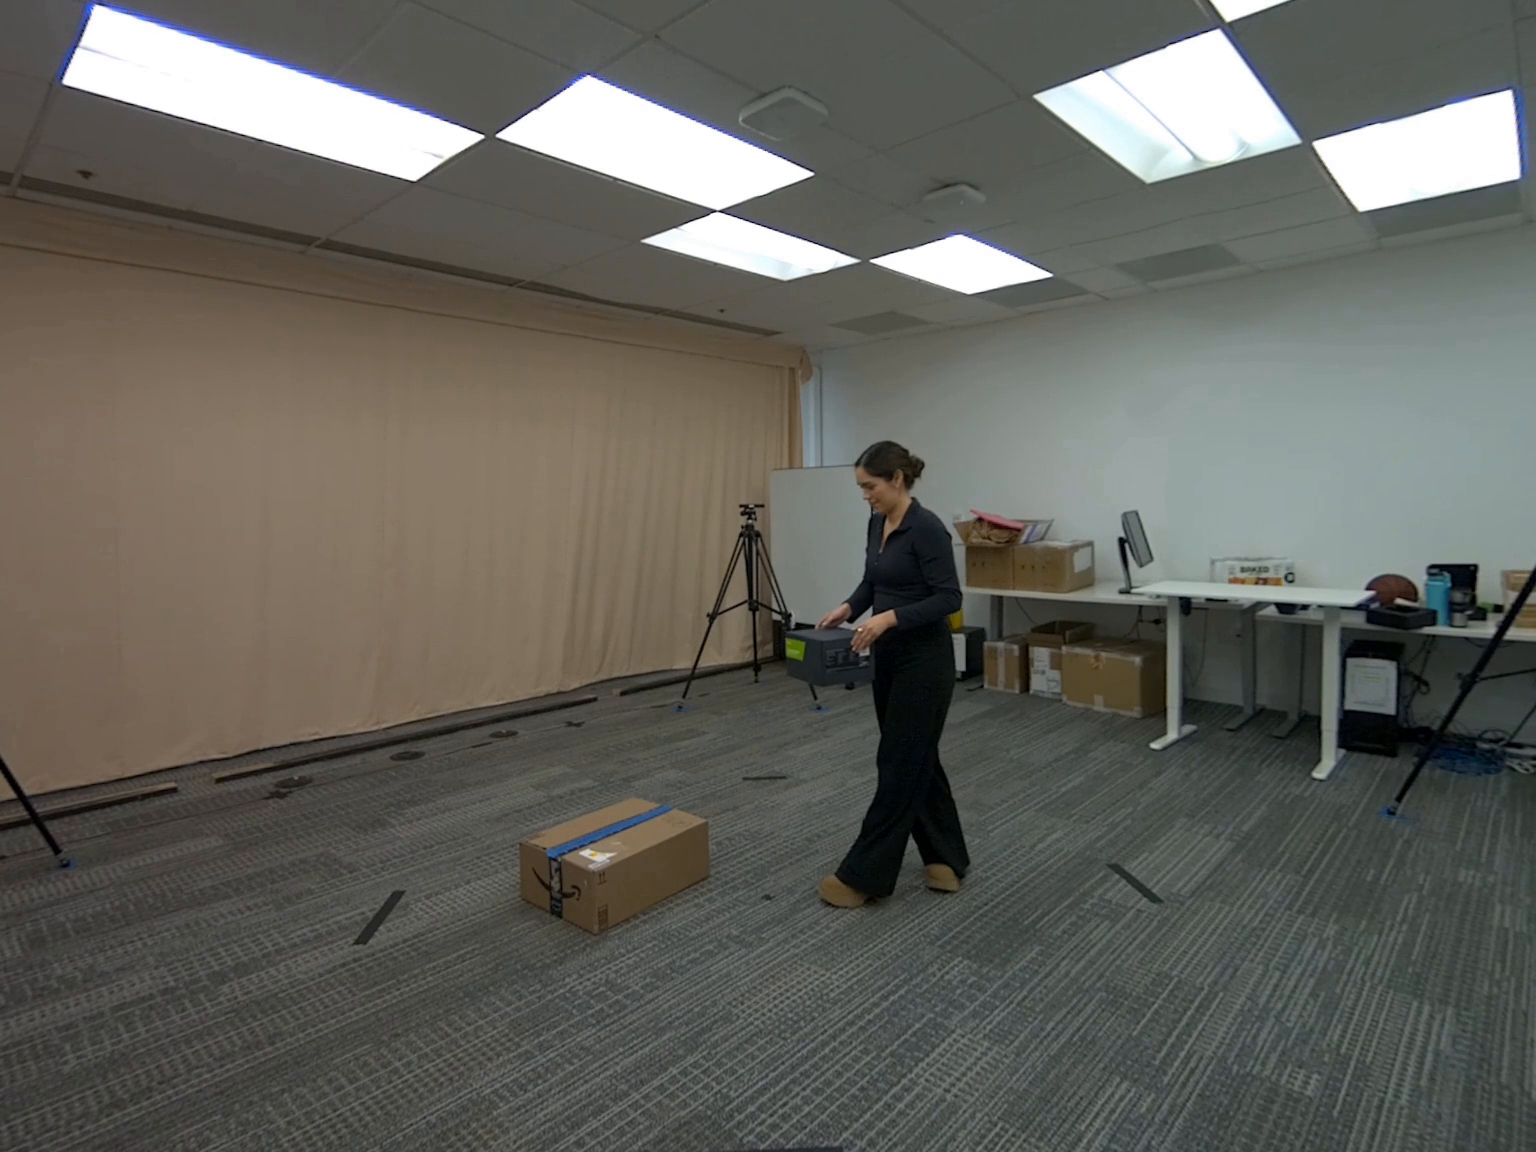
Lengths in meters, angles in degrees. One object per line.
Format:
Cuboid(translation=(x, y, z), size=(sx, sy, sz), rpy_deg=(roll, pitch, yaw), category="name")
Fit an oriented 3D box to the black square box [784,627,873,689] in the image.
Cuboid(translation=(0.211, 0.273, 2.891), size=(0.212, 0.155, 0.234), rpy_deg=(-4, 6, -27), category="black square box")
